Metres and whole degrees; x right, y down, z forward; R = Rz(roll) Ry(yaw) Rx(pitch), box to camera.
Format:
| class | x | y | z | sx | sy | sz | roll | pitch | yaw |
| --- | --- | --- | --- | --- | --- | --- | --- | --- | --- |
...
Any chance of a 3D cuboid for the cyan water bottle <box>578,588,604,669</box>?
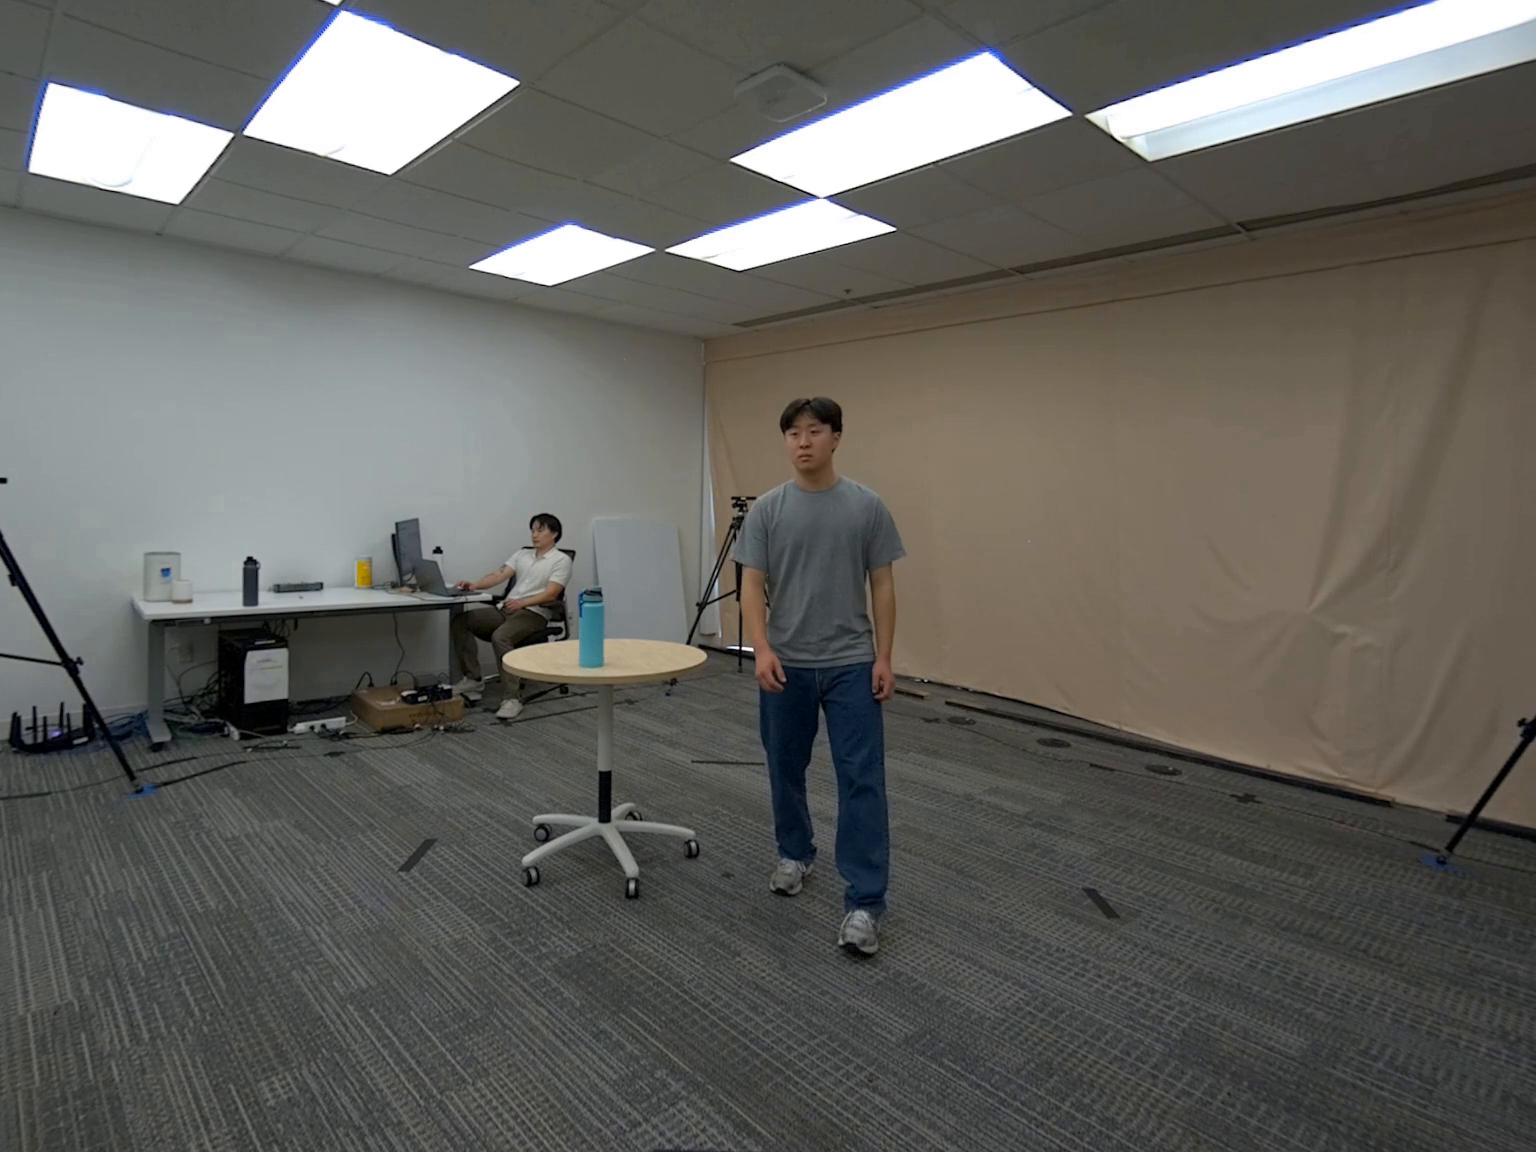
| class | x | y | z | sx | sy | sz | roll | pitch | yaw |
| --- | --- | --- | --- | --- | --- | --- | --- | --- | --- |
| cyan water bottle | -0.632 | 0.180 | 2.997 | 0.092 | 0.282 | 0.093 | 1 | 5 | -1 |
